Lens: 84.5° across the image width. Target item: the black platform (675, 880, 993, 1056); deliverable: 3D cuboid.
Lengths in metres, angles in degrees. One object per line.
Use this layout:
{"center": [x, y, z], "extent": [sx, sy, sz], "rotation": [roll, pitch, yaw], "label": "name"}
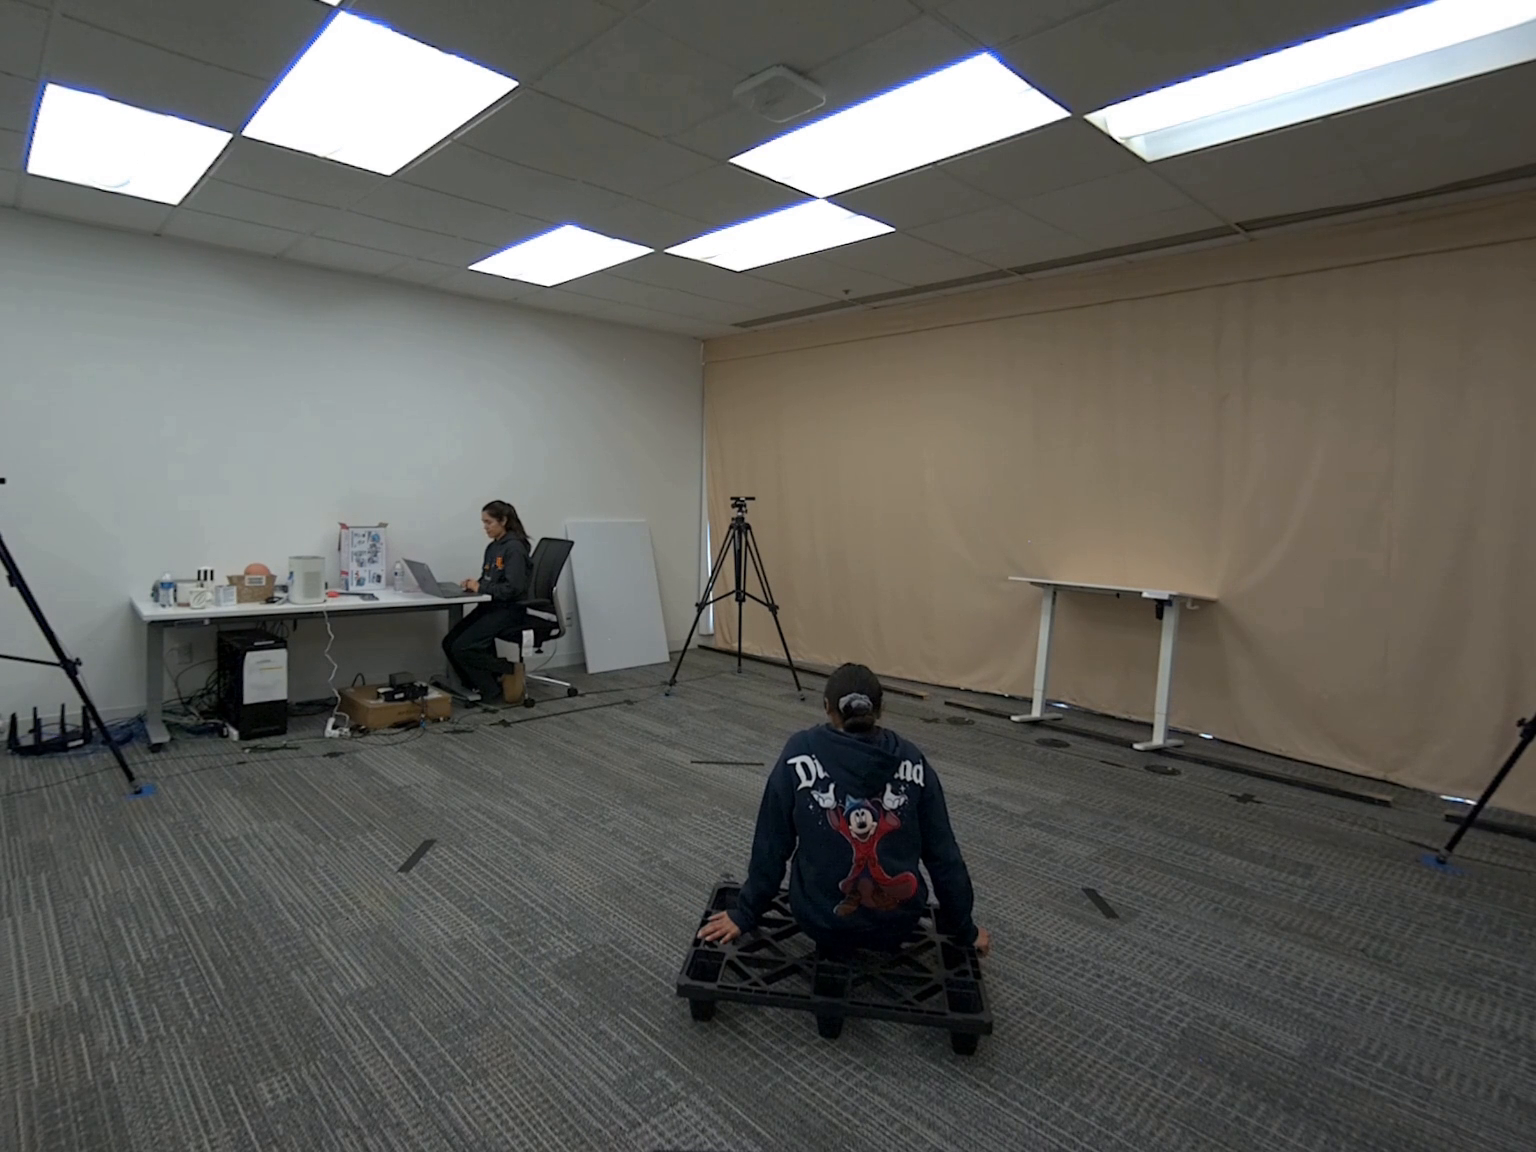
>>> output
{"center": [0.187, 1.111, 2.406], "extent": [0.811, 0.143, 0.603], "rotation": [2, 6, 7], "label": "black platform"}
